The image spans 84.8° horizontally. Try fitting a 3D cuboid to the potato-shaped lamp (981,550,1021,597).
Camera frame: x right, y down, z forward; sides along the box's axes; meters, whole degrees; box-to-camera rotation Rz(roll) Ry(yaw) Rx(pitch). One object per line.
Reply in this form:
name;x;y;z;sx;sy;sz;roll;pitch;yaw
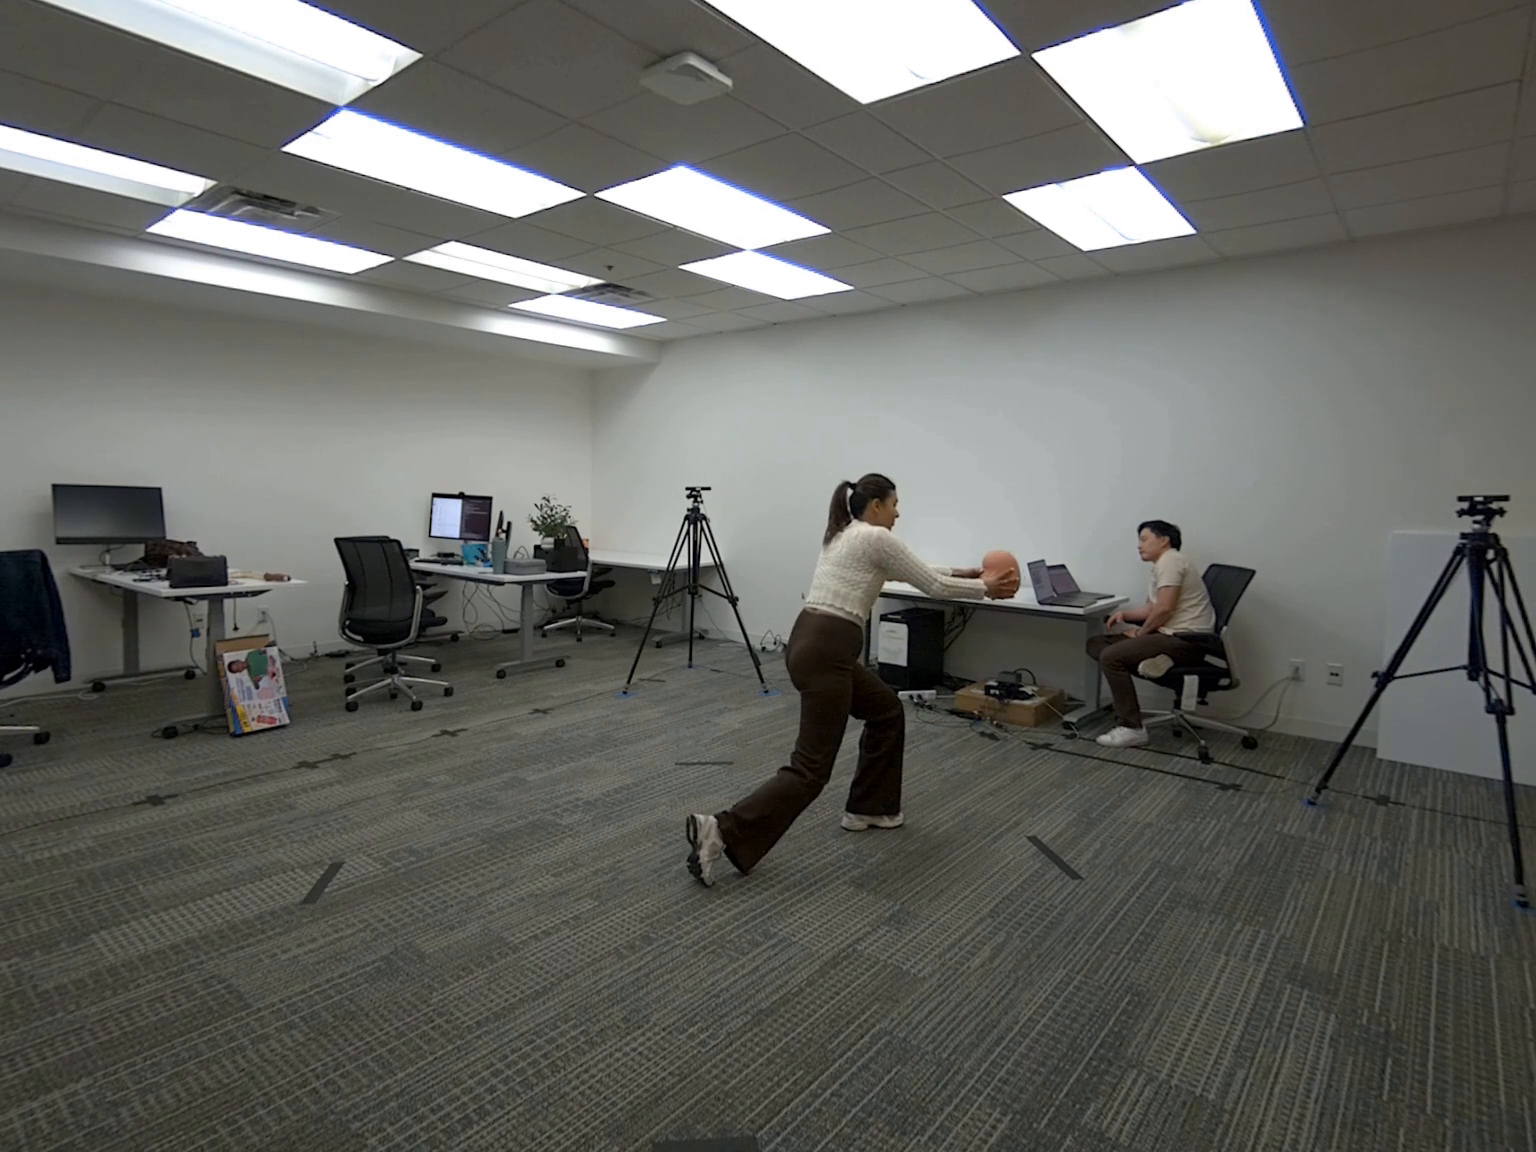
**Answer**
potato-shaped lamp;0.965;-0.020;3.573;0.173;0.197;0.165;-8;7;7
